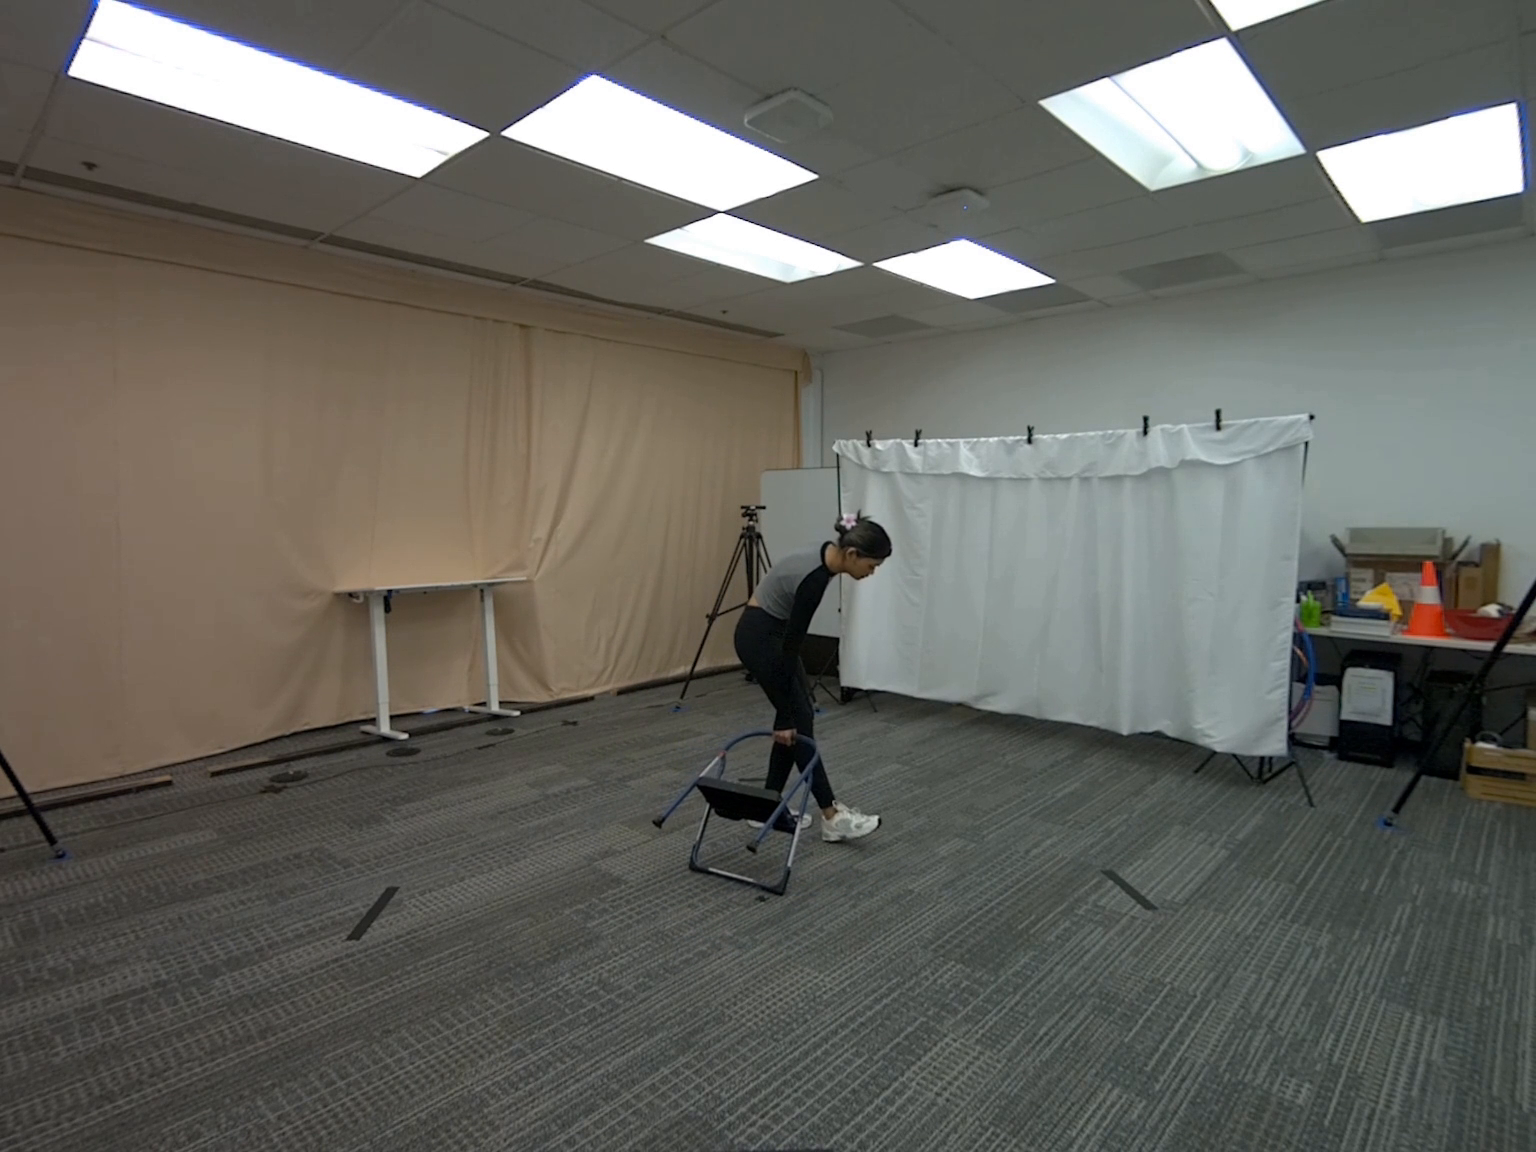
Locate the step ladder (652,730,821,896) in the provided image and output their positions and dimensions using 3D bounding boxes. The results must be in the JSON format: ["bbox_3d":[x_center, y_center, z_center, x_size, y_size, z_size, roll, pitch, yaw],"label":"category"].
[{"bbox_3d":[-0.064,0.809,3.197,0.443,0.339,0.606,2,45,31],"label":"step ladder"}]
